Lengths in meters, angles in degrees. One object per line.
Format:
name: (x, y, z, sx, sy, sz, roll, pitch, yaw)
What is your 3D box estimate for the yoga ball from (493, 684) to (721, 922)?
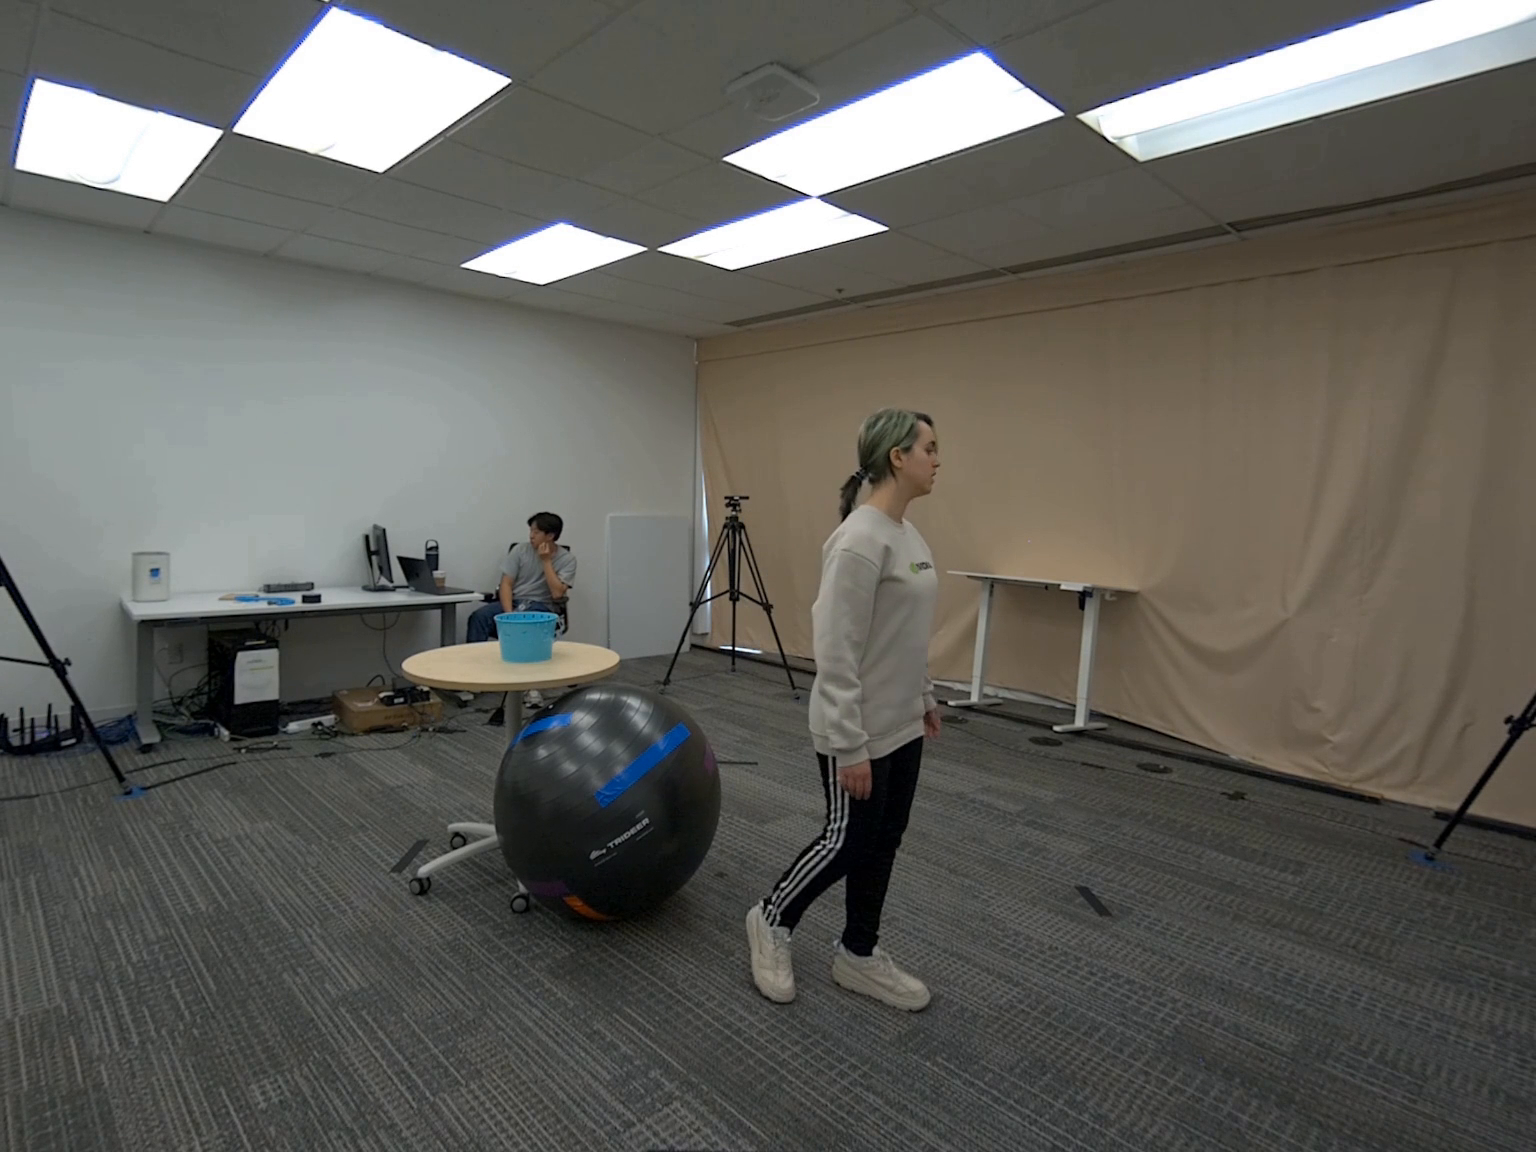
yoga ball: (-0.544, 0.753, 2.826, 0.757, 0.756, 0.761, 1, 4, -1)
